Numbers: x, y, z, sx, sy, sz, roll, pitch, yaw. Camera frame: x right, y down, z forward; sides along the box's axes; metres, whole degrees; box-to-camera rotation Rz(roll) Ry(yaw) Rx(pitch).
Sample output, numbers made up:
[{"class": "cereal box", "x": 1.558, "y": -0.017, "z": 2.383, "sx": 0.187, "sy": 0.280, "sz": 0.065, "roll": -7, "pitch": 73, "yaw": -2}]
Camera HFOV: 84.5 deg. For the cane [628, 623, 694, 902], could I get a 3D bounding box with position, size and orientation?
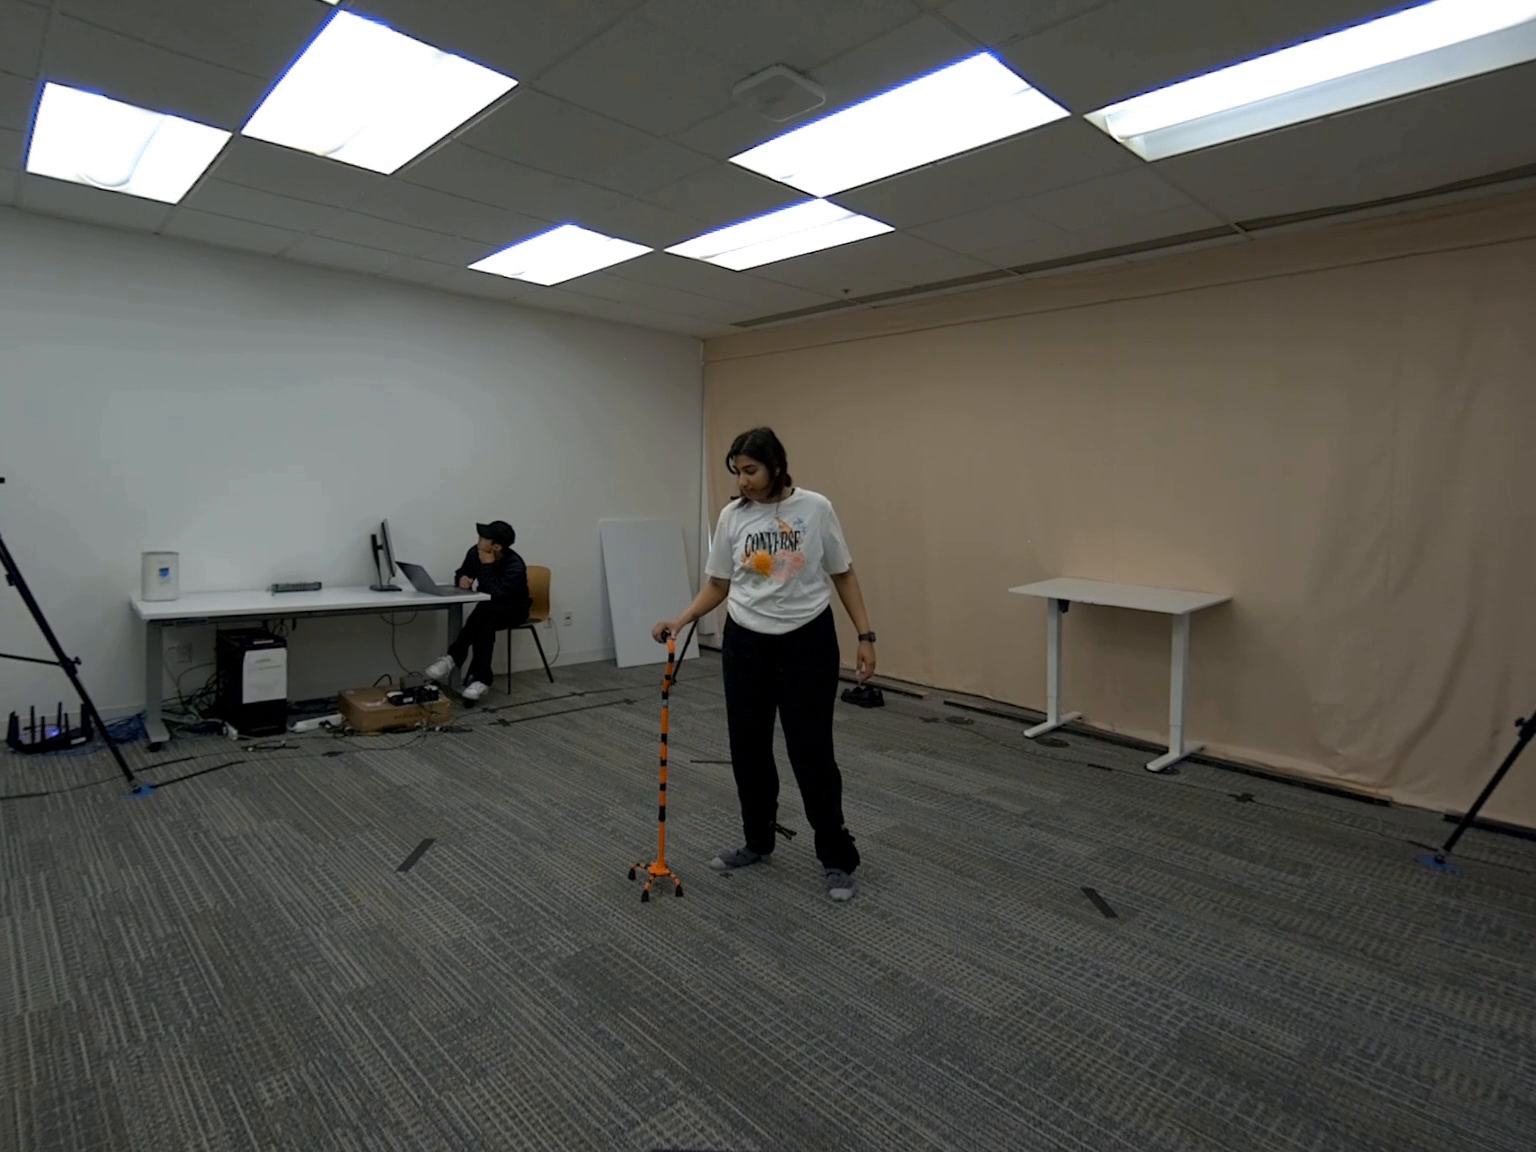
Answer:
[{"class": "cane", "x": -0.391, "y": 0.656, "z": 2.971, "sx": 0.149, "sy": 0.905, "sz": 0.211, "roll": 0, "pitch": 4, "yaw": -25}]
